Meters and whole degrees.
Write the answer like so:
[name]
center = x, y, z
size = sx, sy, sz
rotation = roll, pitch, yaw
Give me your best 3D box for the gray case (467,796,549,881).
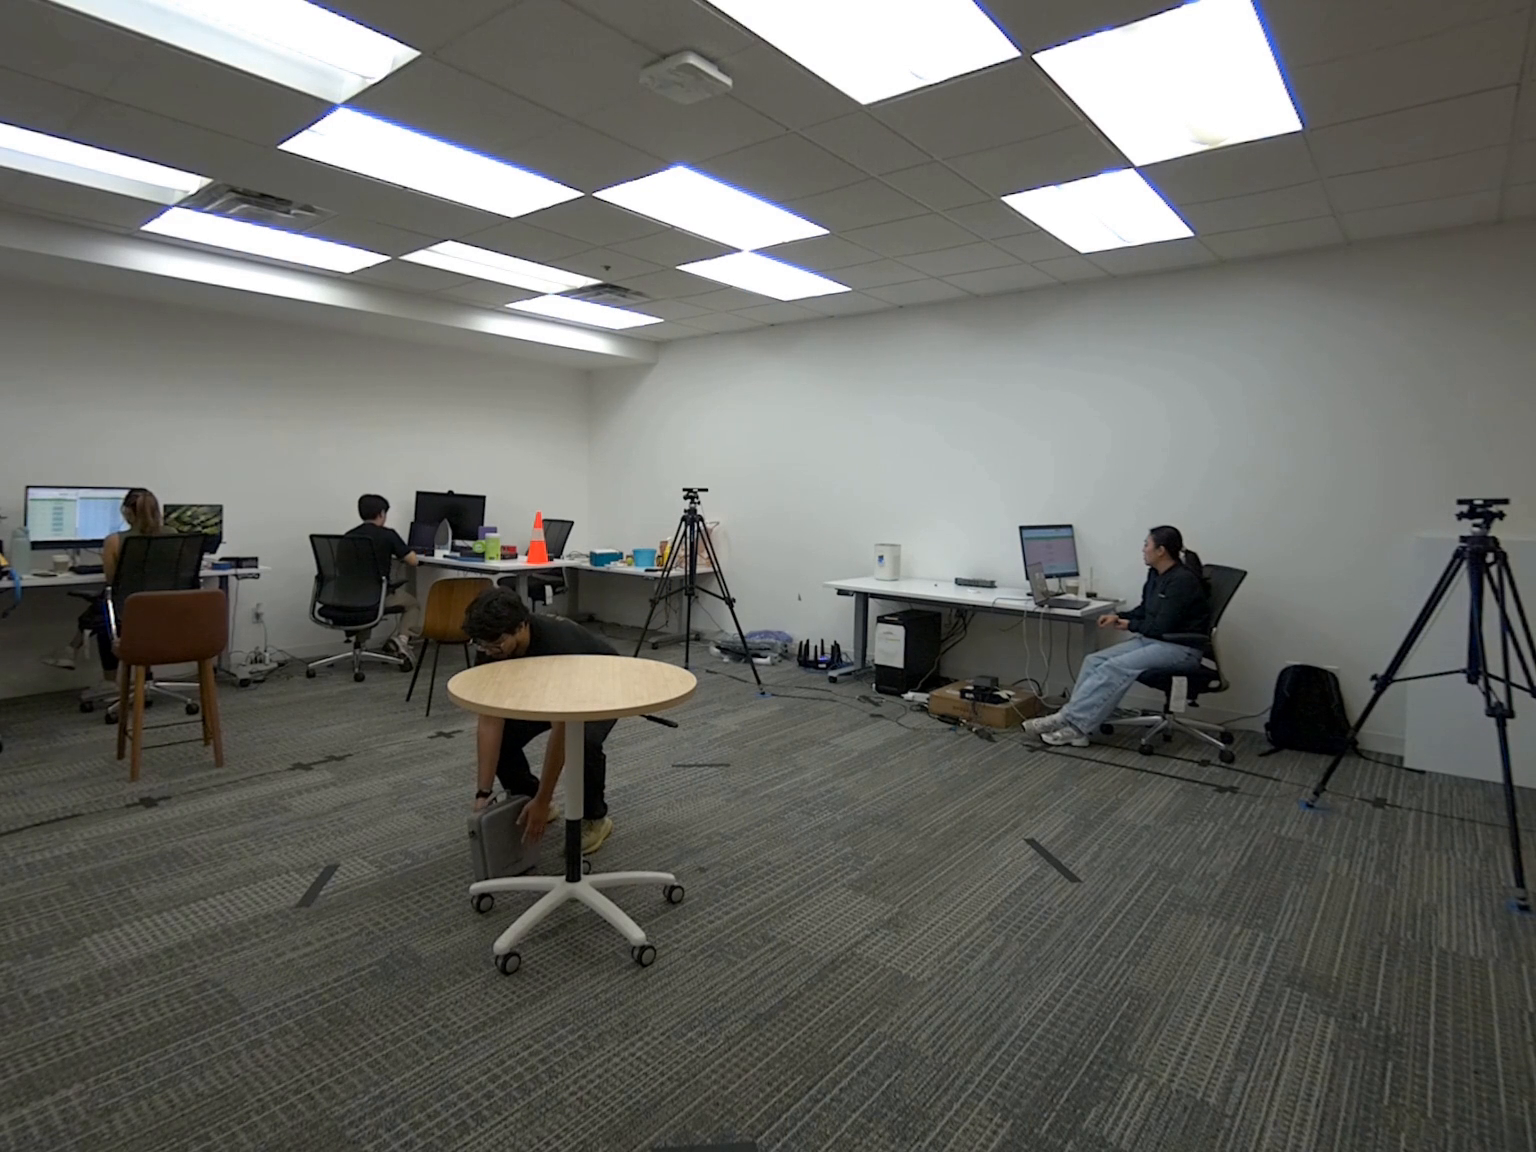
[gray case]
center = -0.953, 0.935, 3.031
size = 0.107, 0.262, 0.250
rotation = -11, -3, 29
